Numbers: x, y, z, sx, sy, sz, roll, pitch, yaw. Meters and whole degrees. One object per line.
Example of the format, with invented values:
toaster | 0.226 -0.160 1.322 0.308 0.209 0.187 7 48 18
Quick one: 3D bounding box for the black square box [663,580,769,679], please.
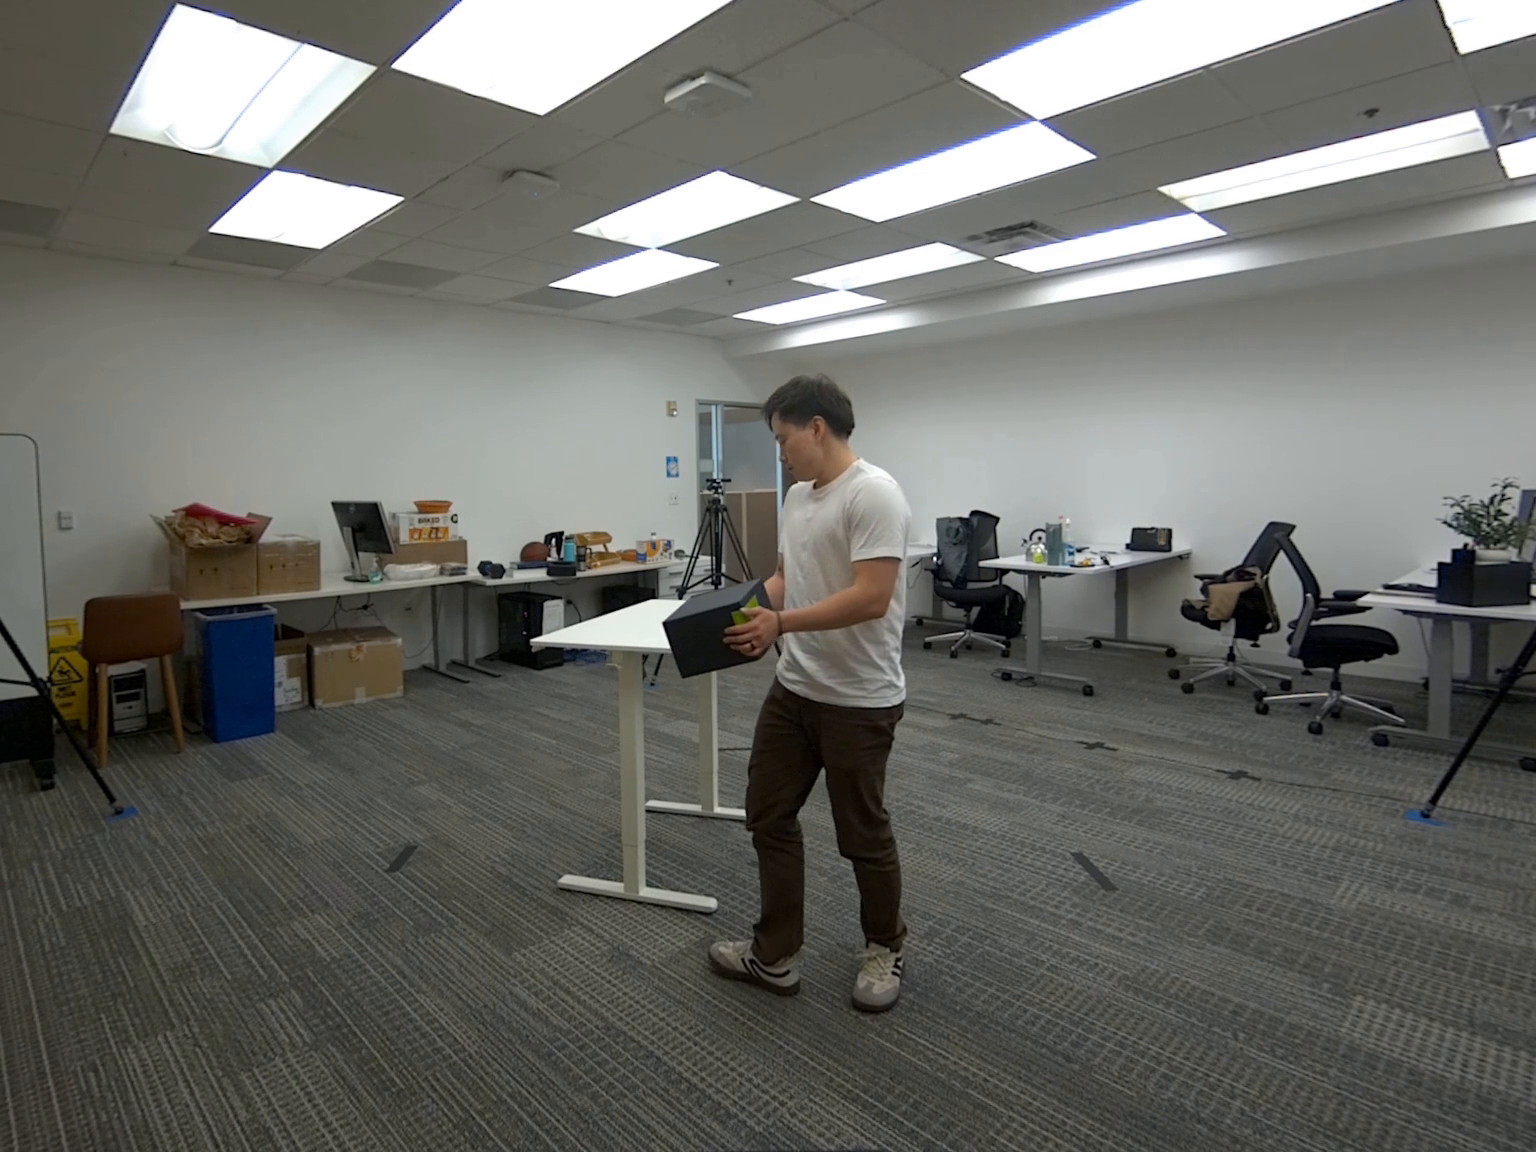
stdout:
black square box | -0.110 0.129 2.194 0.219 0.154 0.227 -15 9 17
